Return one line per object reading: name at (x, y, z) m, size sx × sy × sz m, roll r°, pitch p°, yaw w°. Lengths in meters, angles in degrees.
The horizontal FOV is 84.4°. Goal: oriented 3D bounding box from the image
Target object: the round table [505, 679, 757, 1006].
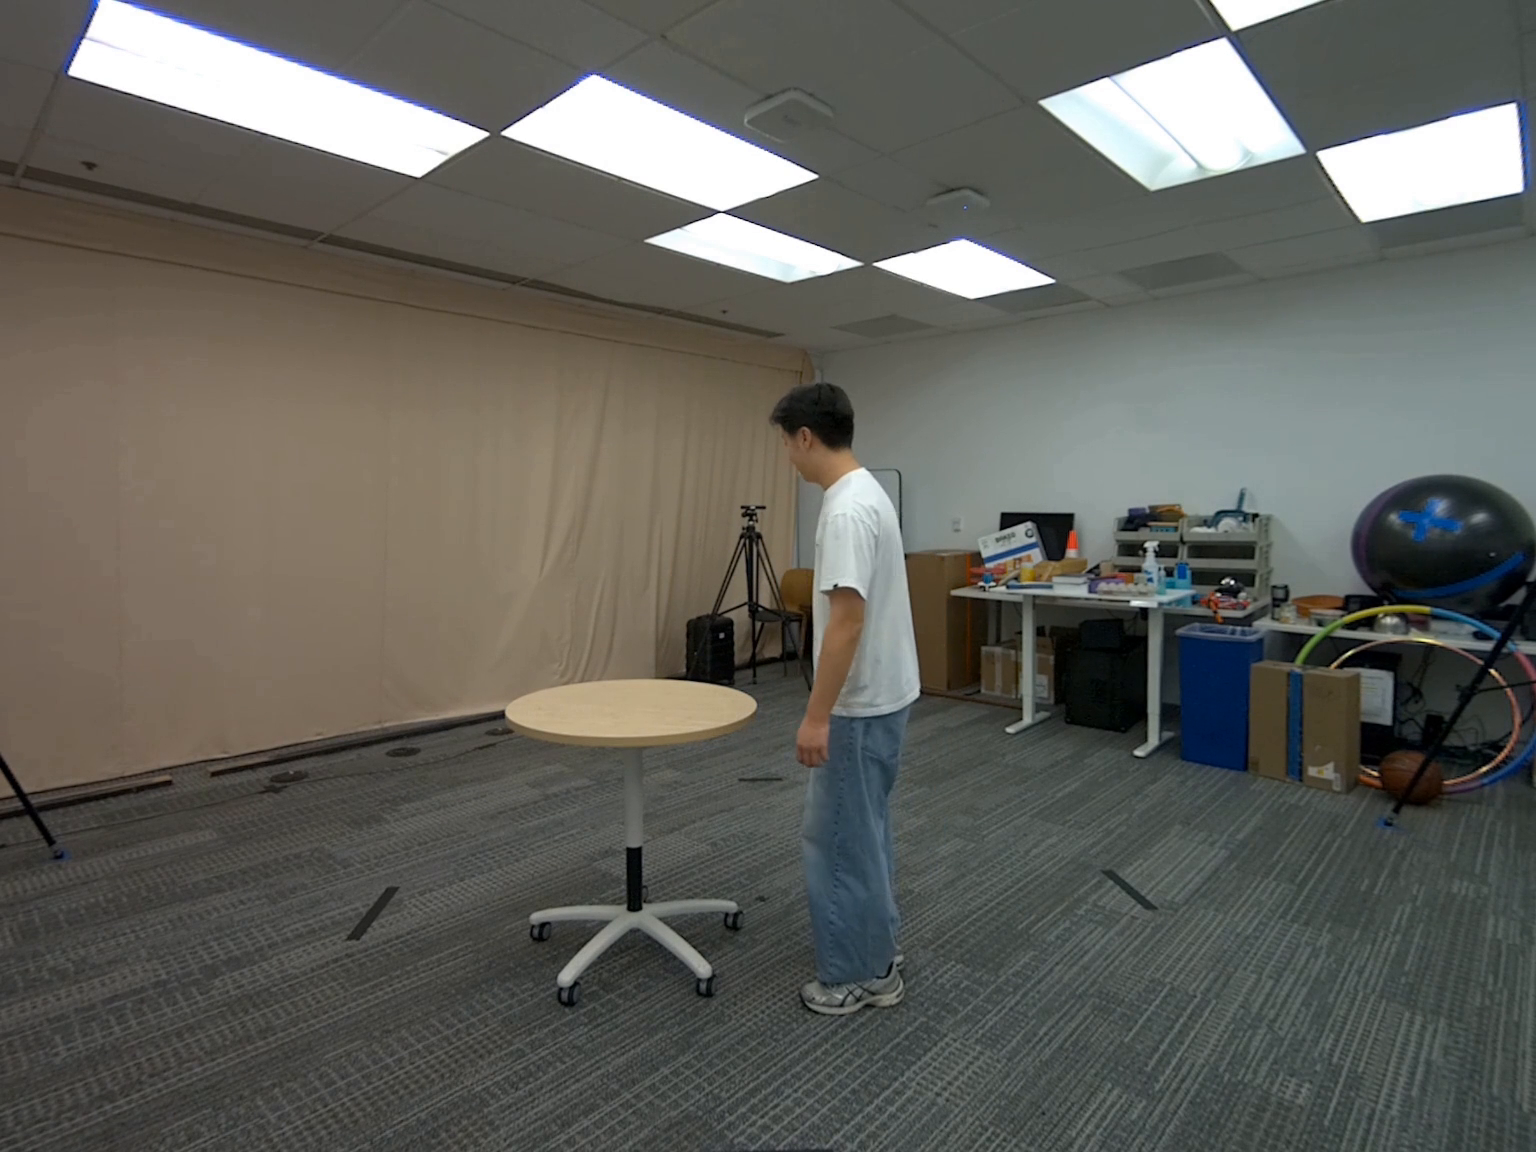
round table at (-0.409, 0.790, 2.611) m, size 0.763 × 0.792 × 0.766 m, roll 0°, pitch 4°, yaw -2°
